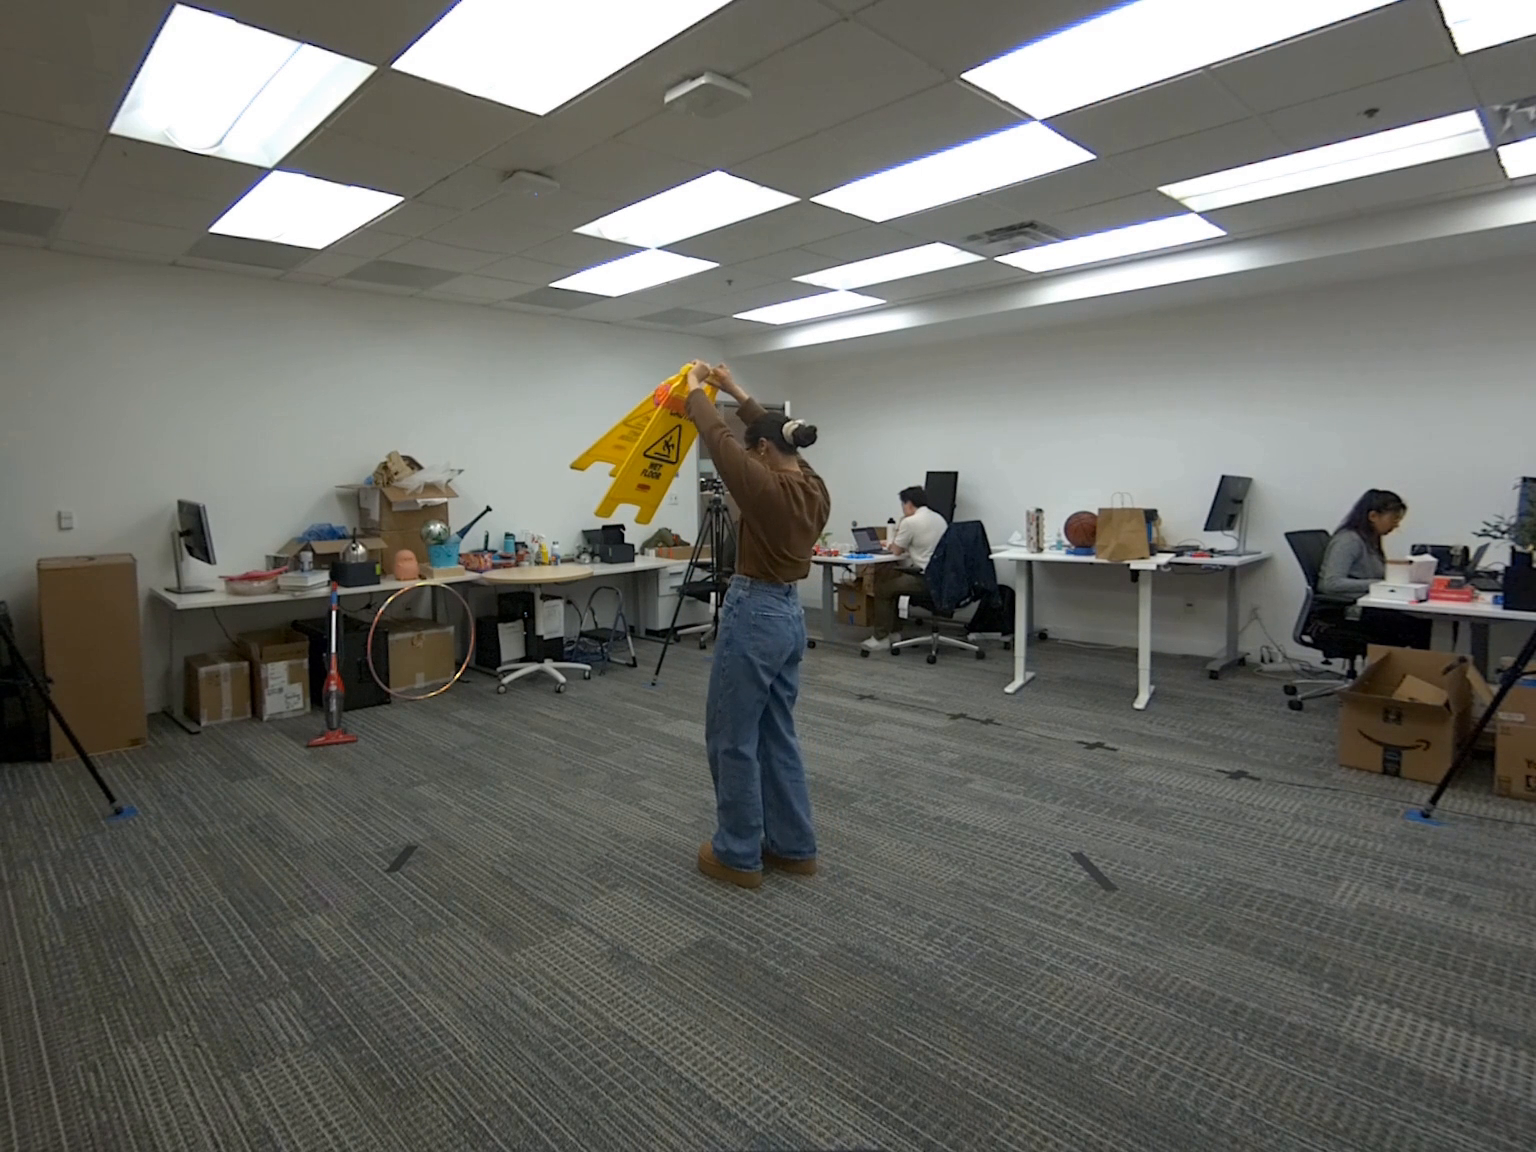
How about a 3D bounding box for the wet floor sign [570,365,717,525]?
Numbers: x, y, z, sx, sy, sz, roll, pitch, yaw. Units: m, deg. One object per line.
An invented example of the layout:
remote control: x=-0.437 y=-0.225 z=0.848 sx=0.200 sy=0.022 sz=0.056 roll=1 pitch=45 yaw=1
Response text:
wet floor sign: x=-0.416 y=-0.524 z=3.193 sx=0.273 sy=0.299 sz=0.645 roll=9 pitch=-49 yaw=-51
